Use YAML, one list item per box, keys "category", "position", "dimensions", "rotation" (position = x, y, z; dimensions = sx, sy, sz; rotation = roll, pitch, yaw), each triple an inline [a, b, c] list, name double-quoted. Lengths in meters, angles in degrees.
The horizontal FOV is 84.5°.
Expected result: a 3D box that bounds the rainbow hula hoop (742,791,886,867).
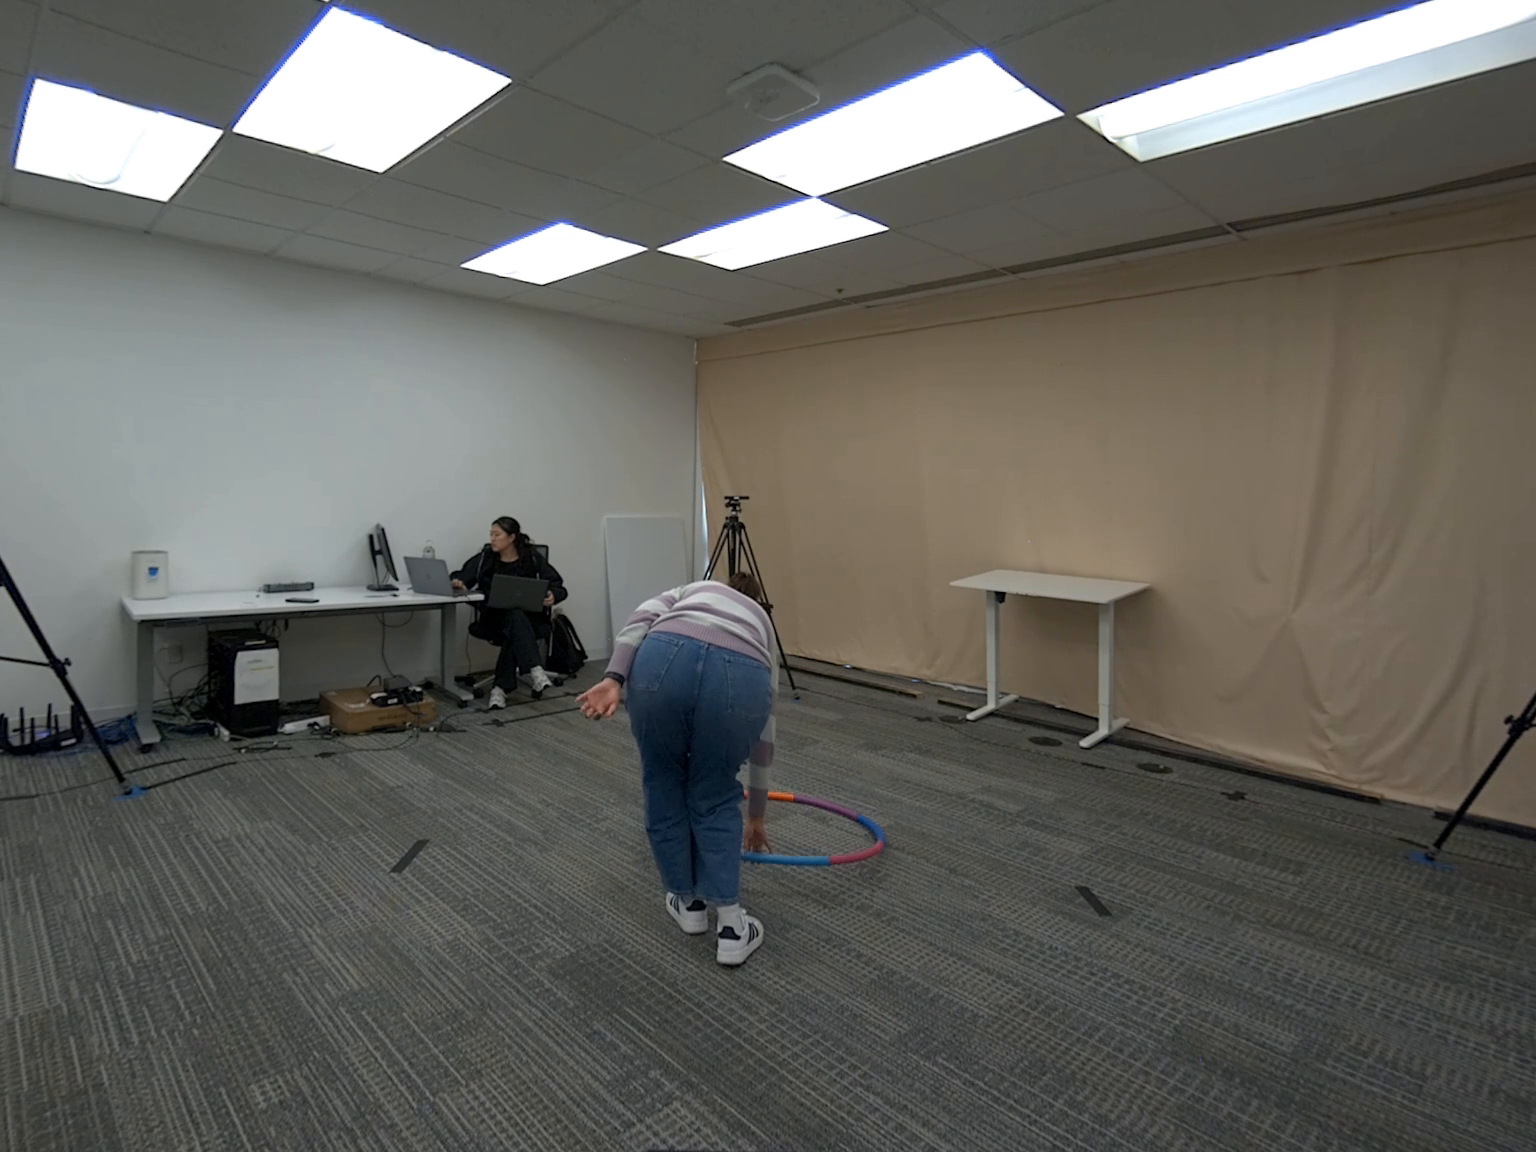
- category: "rainbow hula hoop"
  position: [-0.027, 0.993, 3.435]
  dimensions: [0.978, 0.035, 0.977]
  rotation: [5, -1, -1]
